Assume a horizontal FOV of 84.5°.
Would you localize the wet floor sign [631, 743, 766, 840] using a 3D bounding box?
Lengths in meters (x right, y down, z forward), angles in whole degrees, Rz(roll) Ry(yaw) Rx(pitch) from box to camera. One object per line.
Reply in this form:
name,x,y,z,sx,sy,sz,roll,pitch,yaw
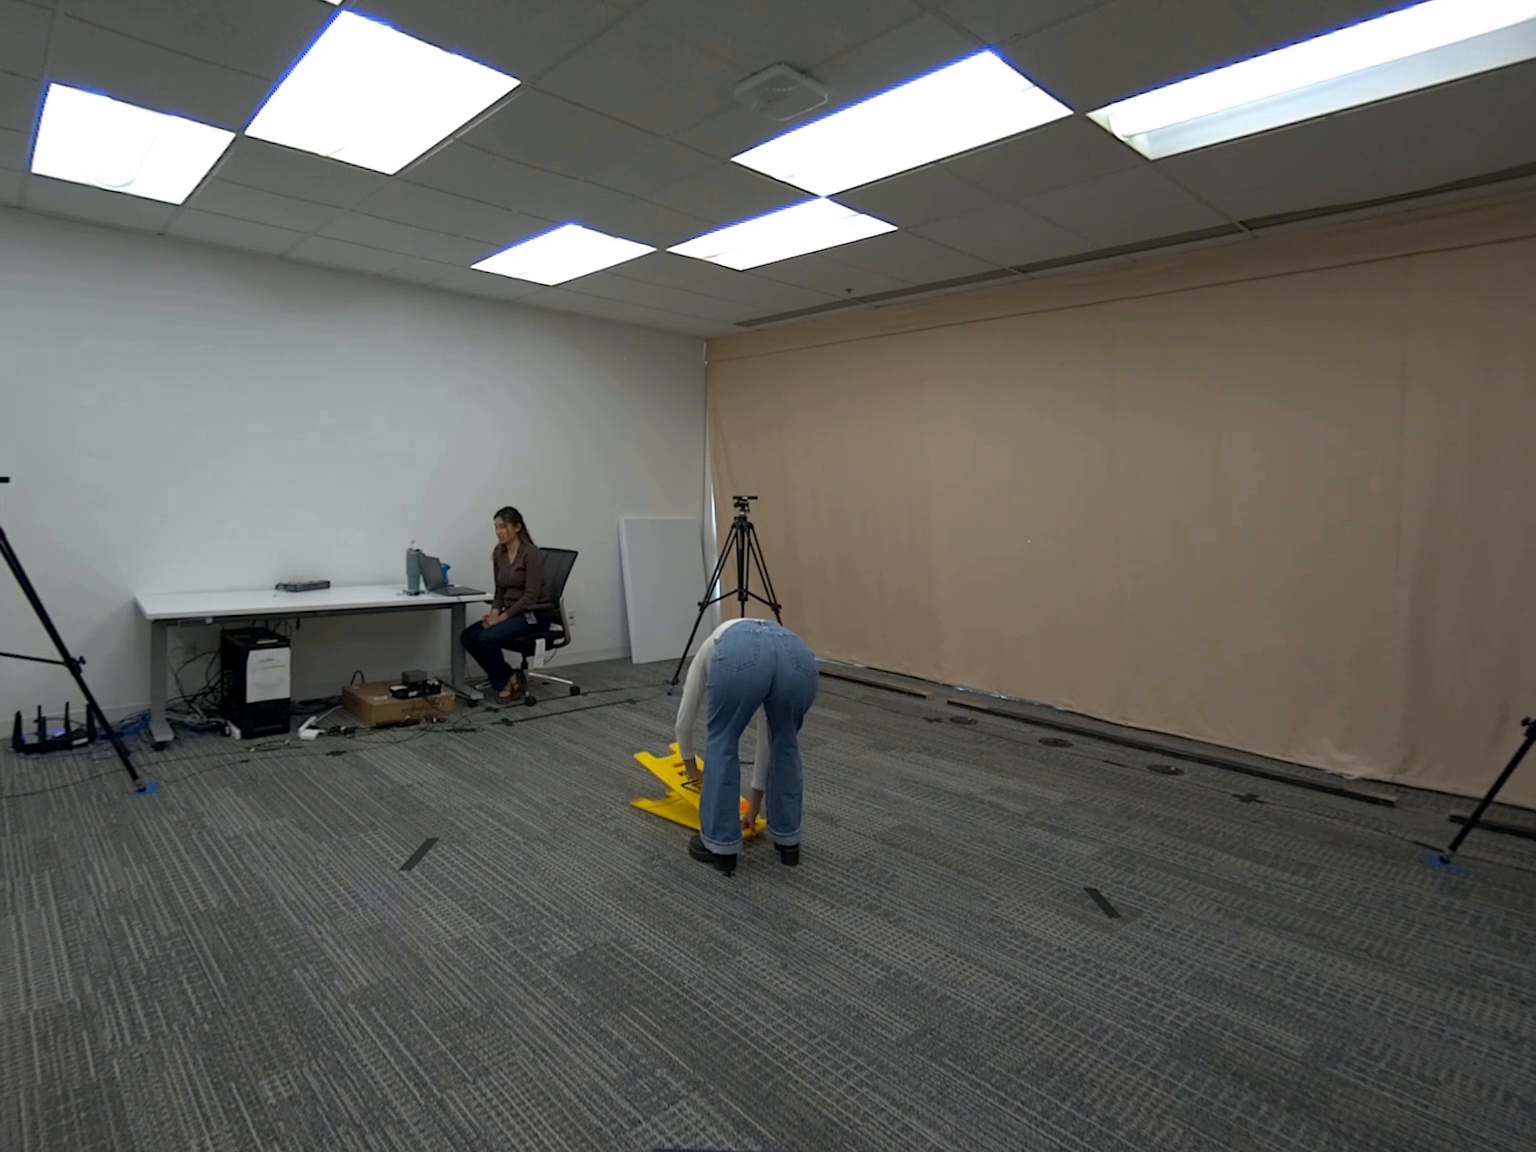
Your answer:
wet floor sign,-0.295,0.980,3.629,0.276,0.287,0.665,-6,17,-43
